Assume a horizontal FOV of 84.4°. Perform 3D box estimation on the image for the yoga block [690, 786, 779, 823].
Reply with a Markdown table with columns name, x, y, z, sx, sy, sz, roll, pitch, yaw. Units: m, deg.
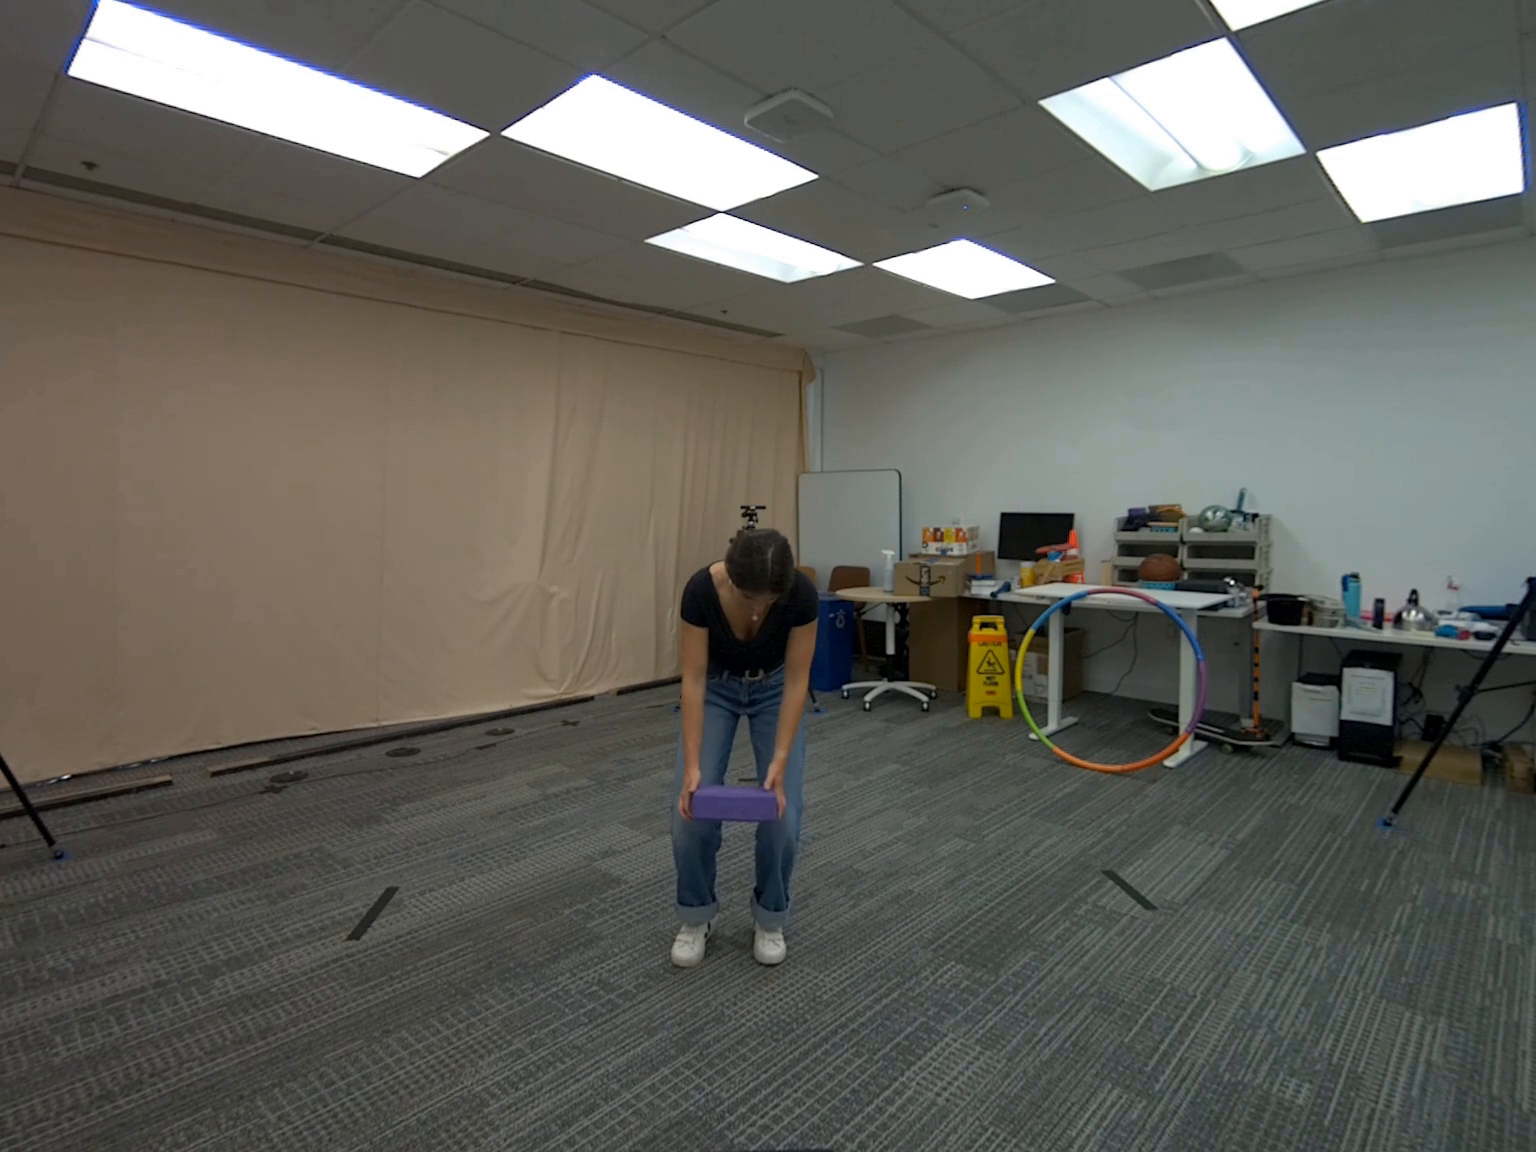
| name | x | y | z | sx | sy | sz | roll | pitch | yaw |
| --- | --- | --- | --- | --- | --- | --- | --- | --- | --- |
| yoga block | -0.100 | 0.646 | 2.382 | 0.229 | 0.077 | 0.149 | 2 | -4 | -2 |
